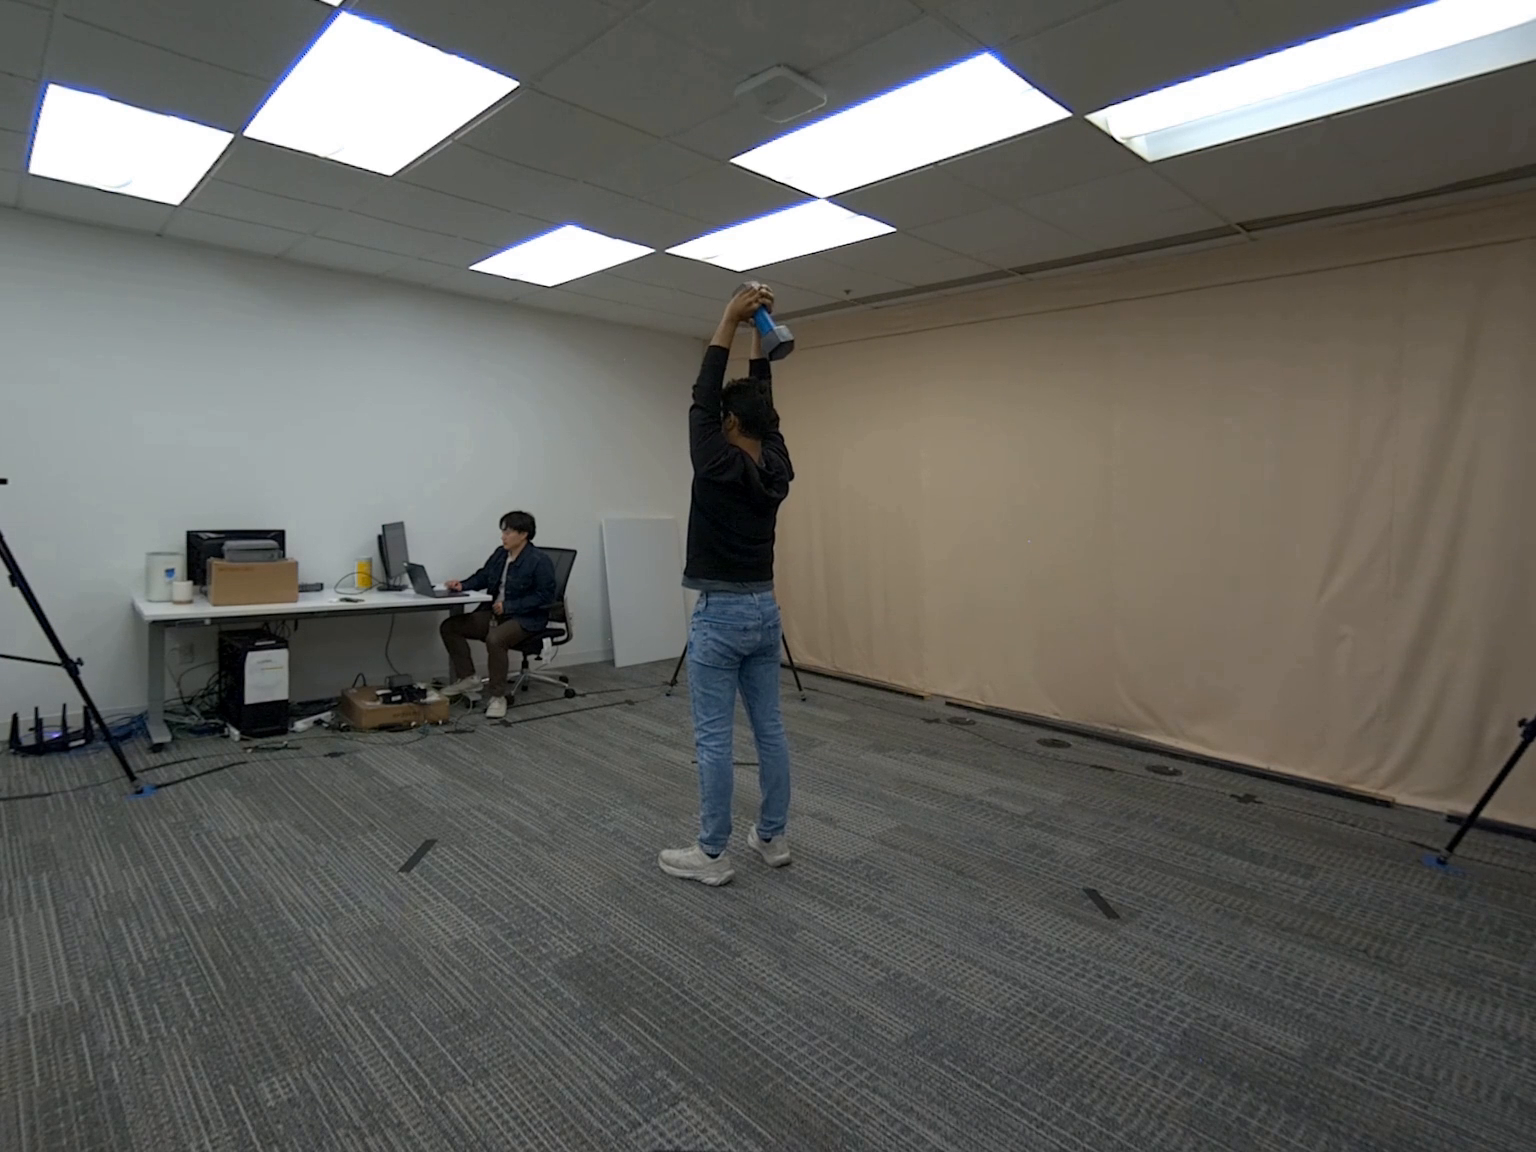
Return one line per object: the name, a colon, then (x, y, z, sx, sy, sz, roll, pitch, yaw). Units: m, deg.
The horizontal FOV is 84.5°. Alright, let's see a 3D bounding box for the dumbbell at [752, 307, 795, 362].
dumbbell: (-0.019, -0.911, 3.039, 0.121, 0.298, 0.108, -22, -16, -31)
